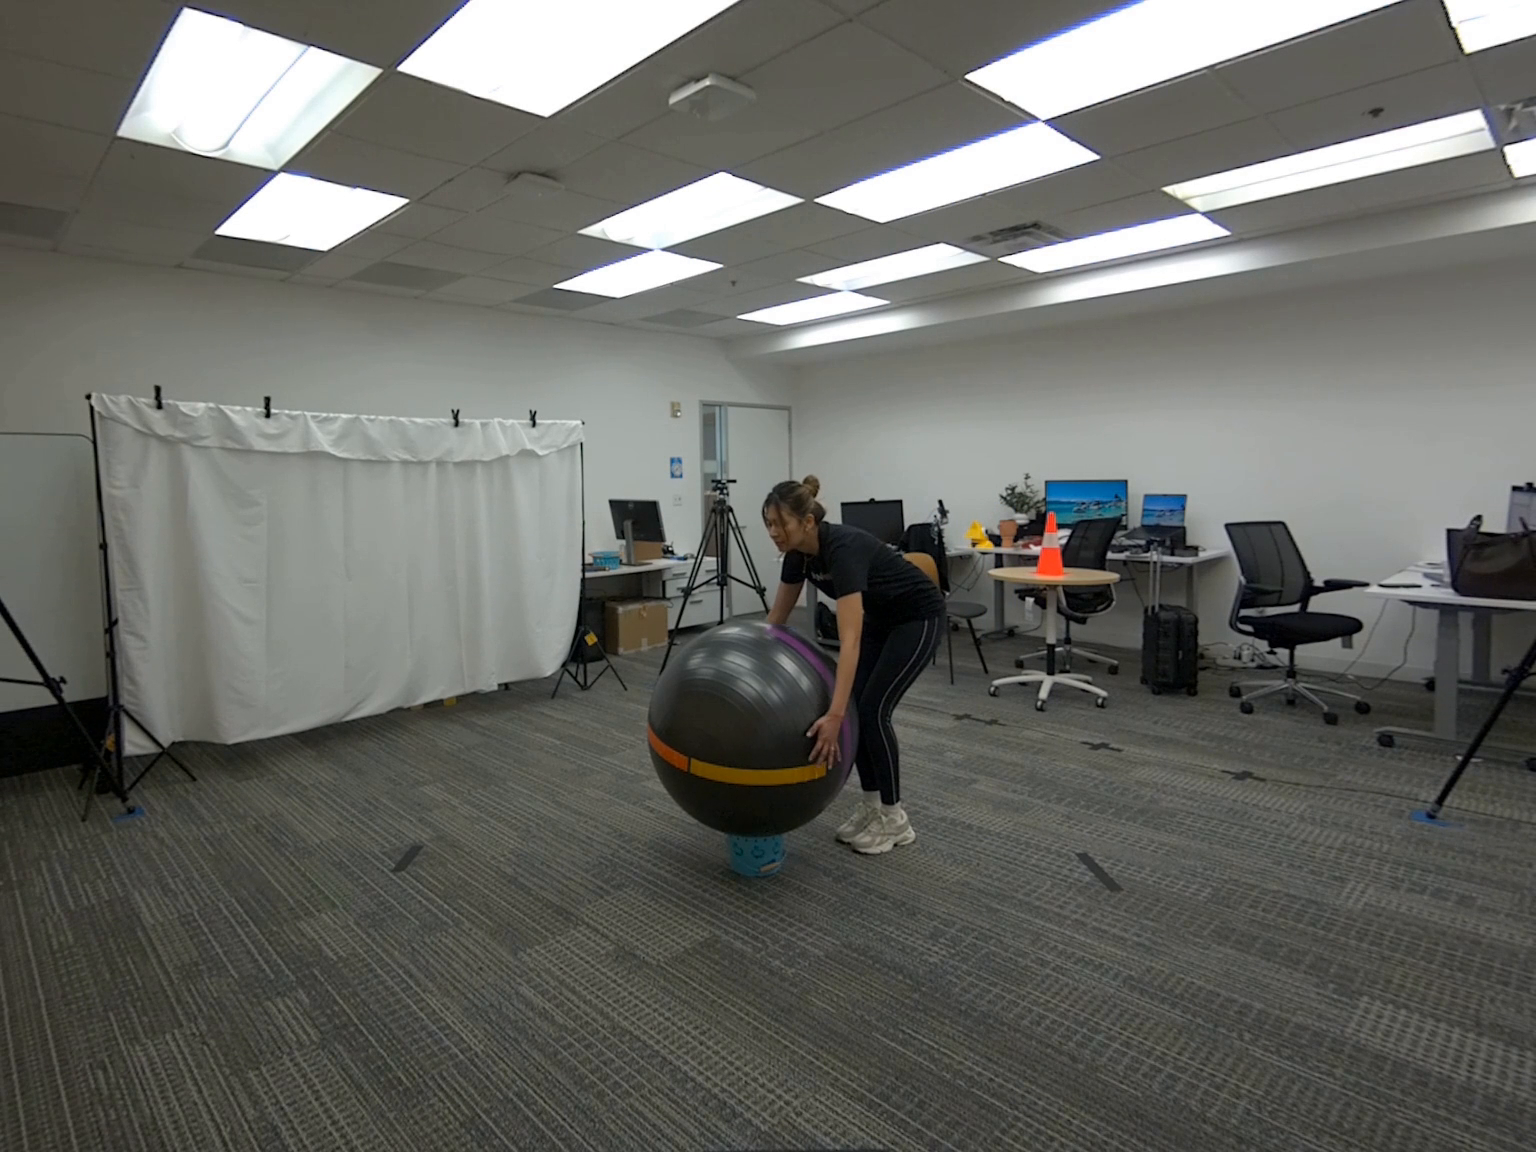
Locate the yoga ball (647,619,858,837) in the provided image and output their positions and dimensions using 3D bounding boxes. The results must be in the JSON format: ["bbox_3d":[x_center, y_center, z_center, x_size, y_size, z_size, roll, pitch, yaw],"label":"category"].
[{"bbox_3d":[-0.056,0.538,3.071,0.757,0.755,0.762,-1,5,-2],"label":"yoga ball"}]
